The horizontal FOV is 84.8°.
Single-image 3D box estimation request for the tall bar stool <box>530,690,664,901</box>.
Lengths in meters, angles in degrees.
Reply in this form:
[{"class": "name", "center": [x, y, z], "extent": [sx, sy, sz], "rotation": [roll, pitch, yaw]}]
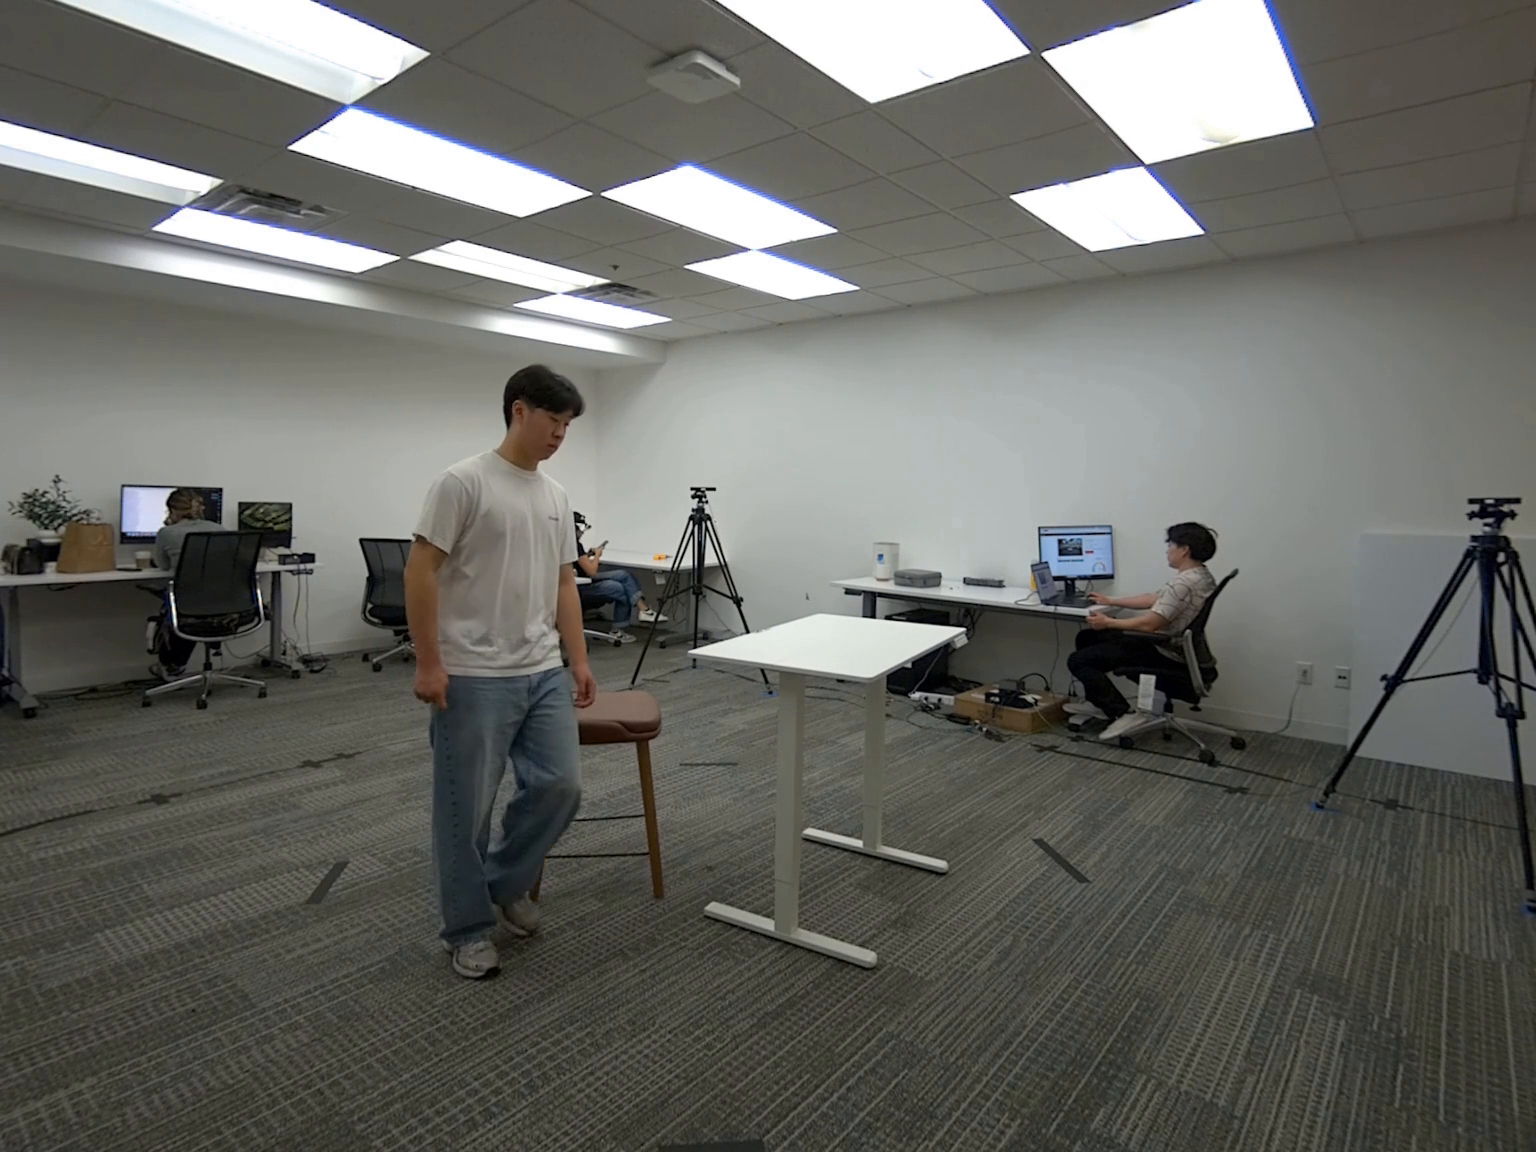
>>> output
[{"class": "tall bar stool", "center": [-0.617, 0.634, 3.021], "extent": [0.463, 0.887, 0.462], "rotation": [-2, 3, -9]}]
